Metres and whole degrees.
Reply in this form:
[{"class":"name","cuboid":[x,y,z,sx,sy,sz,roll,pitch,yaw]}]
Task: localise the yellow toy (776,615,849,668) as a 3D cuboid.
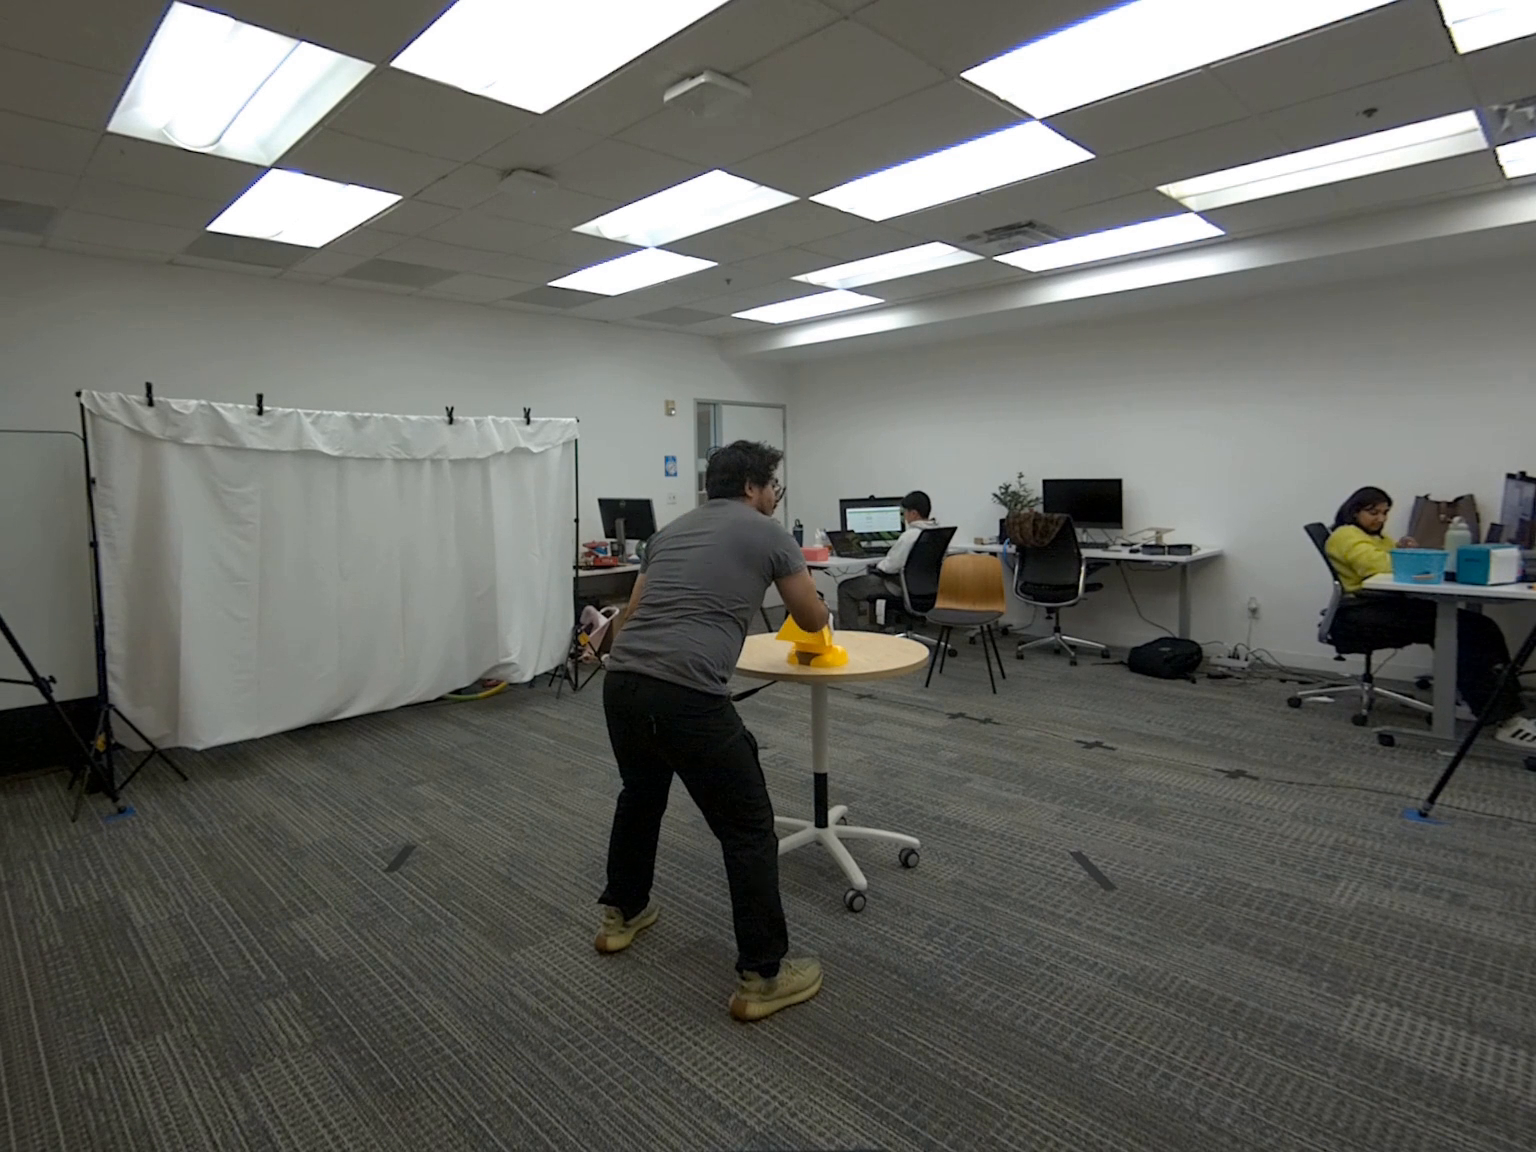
[{"class":"yellow toy","cuboid":[0.158,0.171,2.847,0.211,0.230,0.188,3,6,38]}]
